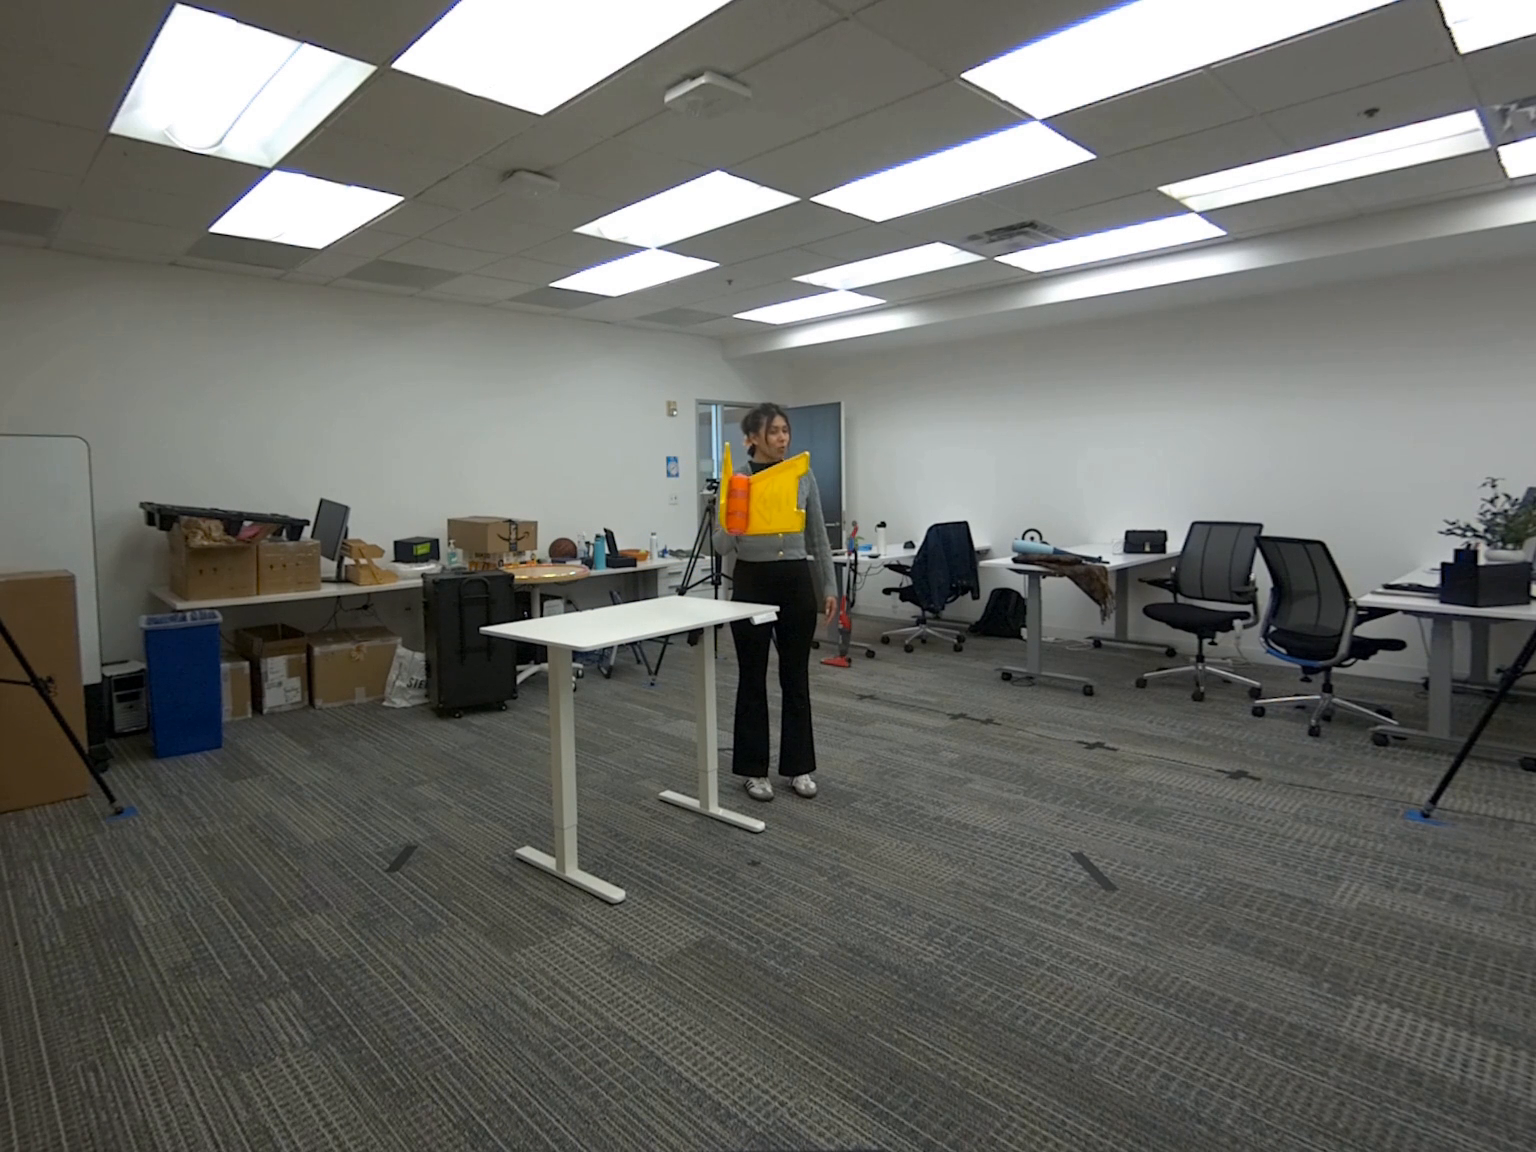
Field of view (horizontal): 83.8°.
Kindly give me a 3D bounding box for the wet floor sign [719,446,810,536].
[{"bbox_3d":[-0.083,-0.286,3.238,0.286,0.284,0.651,5,-5,-13],"label":"wet floor sign"}]
